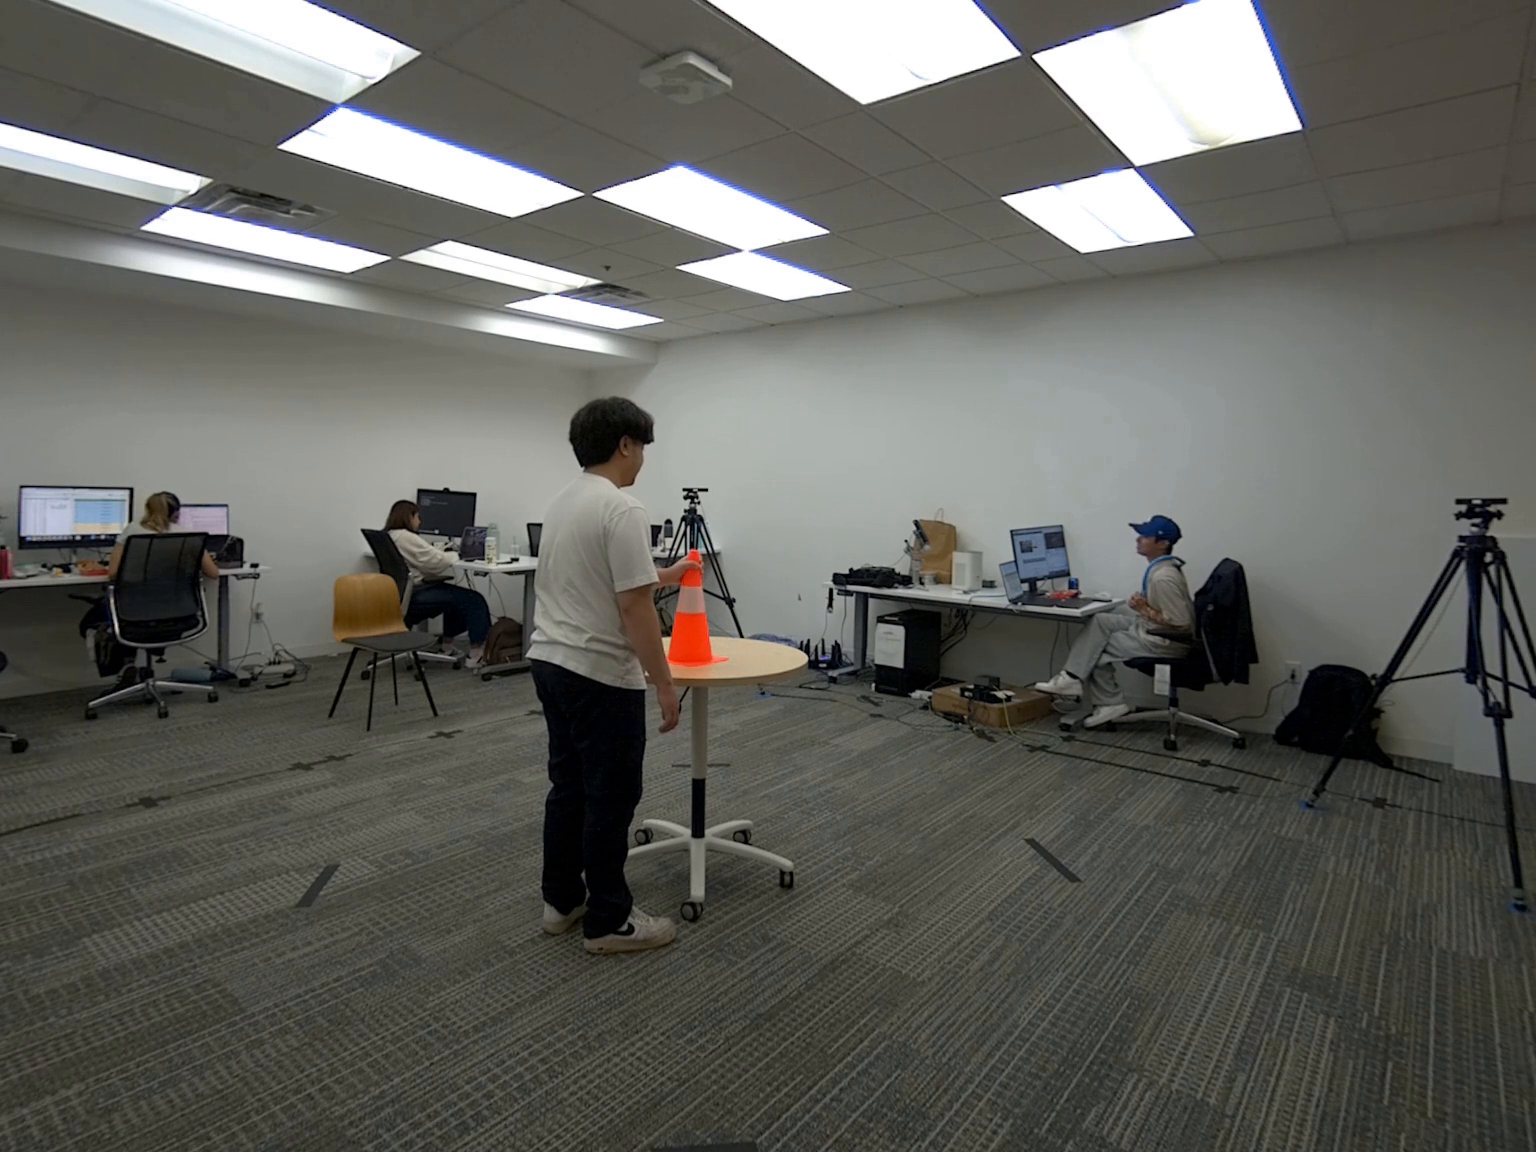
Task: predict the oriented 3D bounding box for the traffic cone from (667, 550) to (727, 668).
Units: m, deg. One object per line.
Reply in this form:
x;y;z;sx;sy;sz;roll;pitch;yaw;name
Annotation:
-0.271;0.095;2.940;0.211;0.382;0.198;3;5;33;traffic cone
